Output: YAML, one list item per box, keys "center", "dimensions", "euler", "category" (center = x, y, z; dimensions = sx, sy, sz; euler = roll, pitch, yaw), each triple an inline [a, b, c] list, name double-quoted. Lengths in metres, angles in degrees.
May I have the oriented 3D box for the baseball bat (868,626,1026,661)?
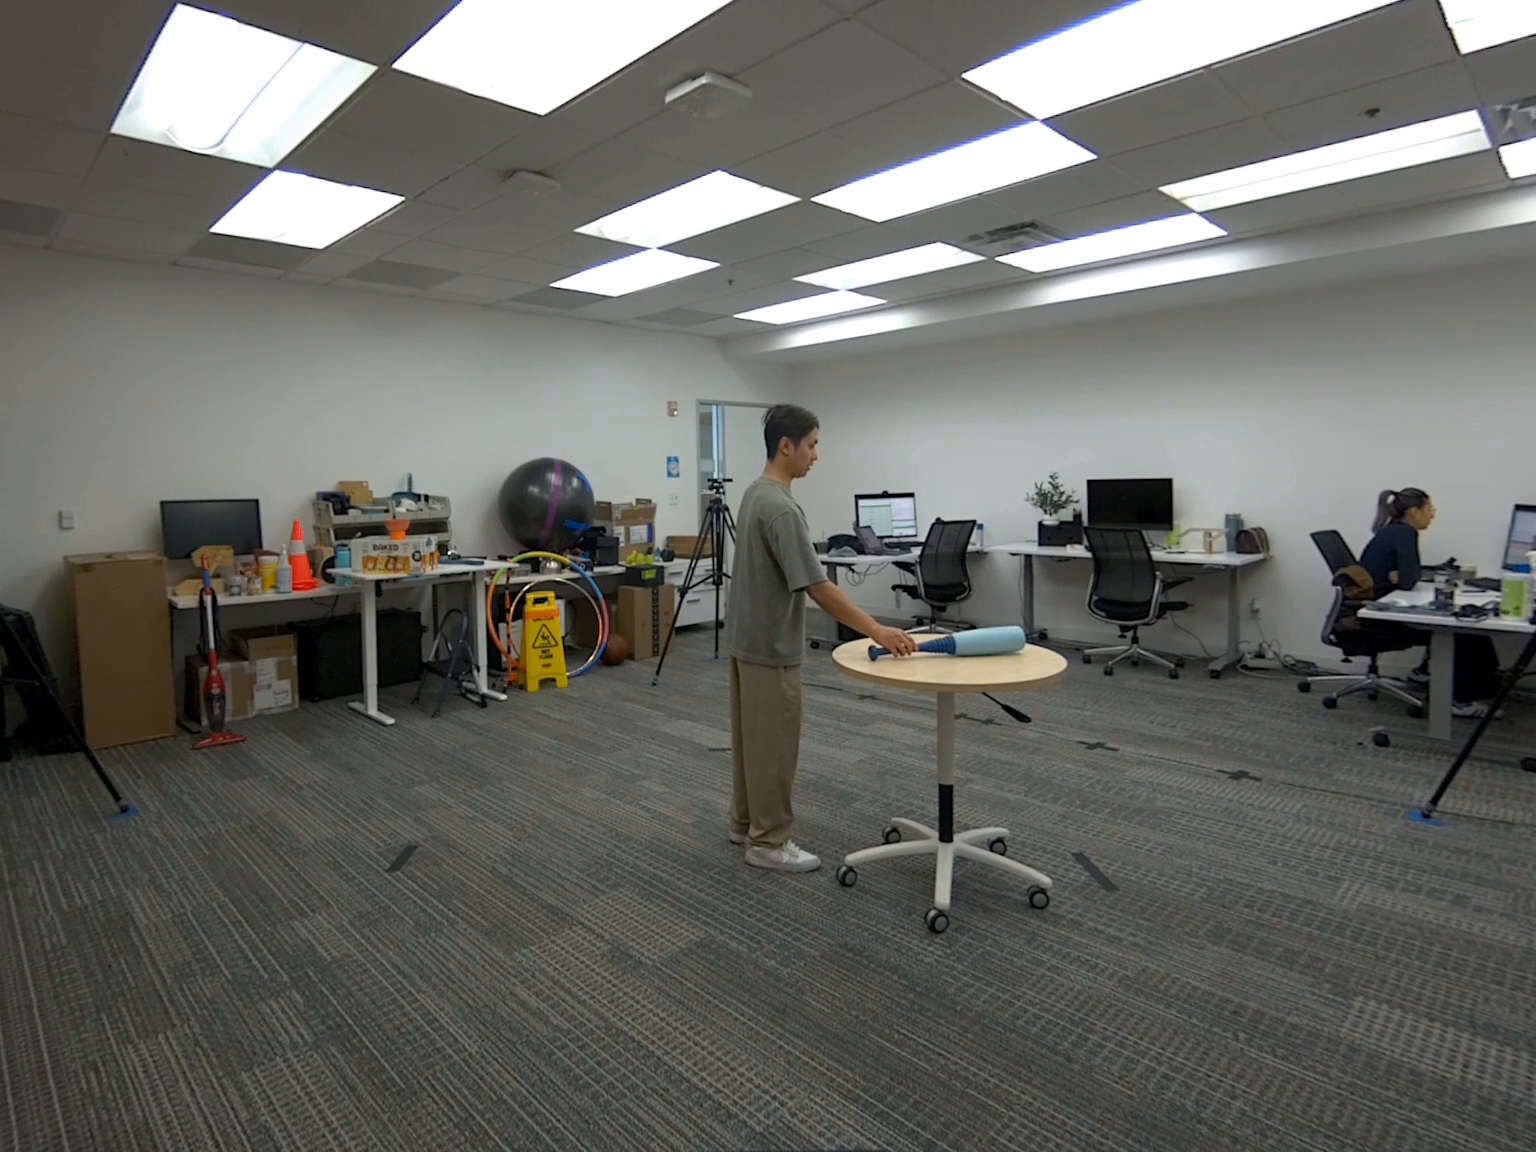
- center: [0.604, 0.236, 2.884]
  dimensions: [0.539, 0.088, 0.090]
  euler: [-5, 5, -8]
  category: "baseball bat"
